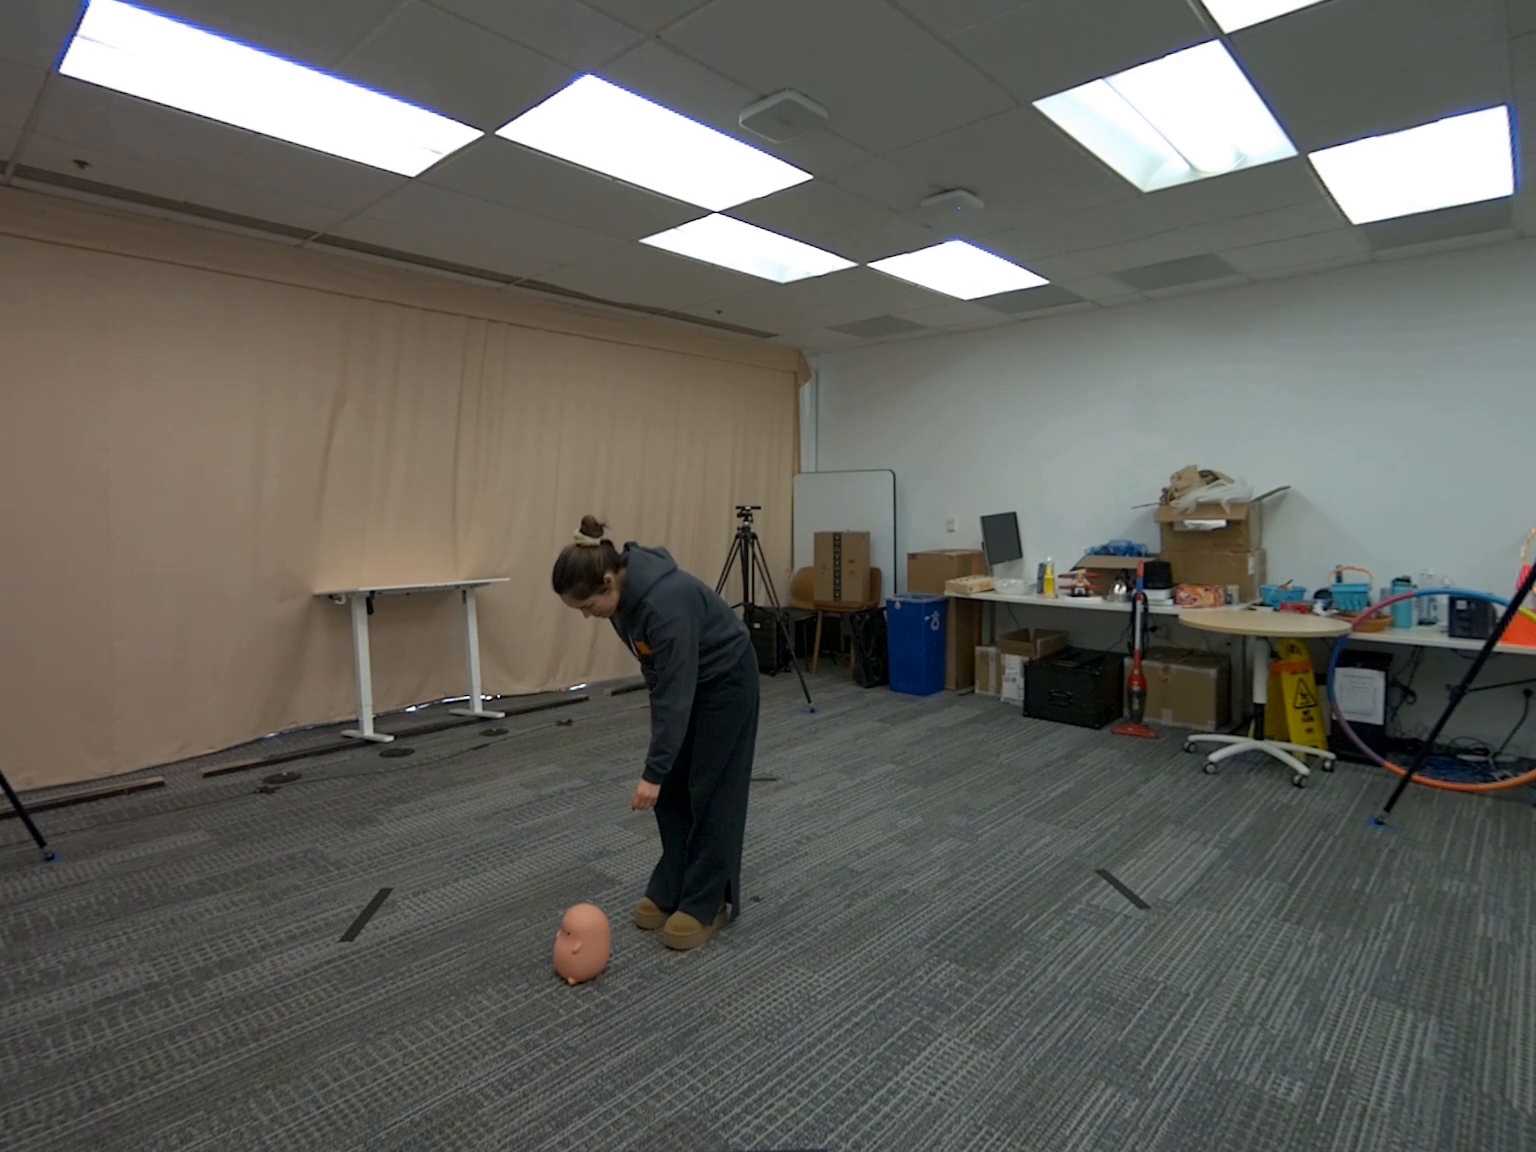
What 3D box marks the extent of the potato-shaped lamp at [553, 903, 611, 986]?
[{"bbox_3d":[-0.541,1.097,2.516,0.167,0.198,0.169,-5,3,-33],"label":"potato-shaped lamp"}]
